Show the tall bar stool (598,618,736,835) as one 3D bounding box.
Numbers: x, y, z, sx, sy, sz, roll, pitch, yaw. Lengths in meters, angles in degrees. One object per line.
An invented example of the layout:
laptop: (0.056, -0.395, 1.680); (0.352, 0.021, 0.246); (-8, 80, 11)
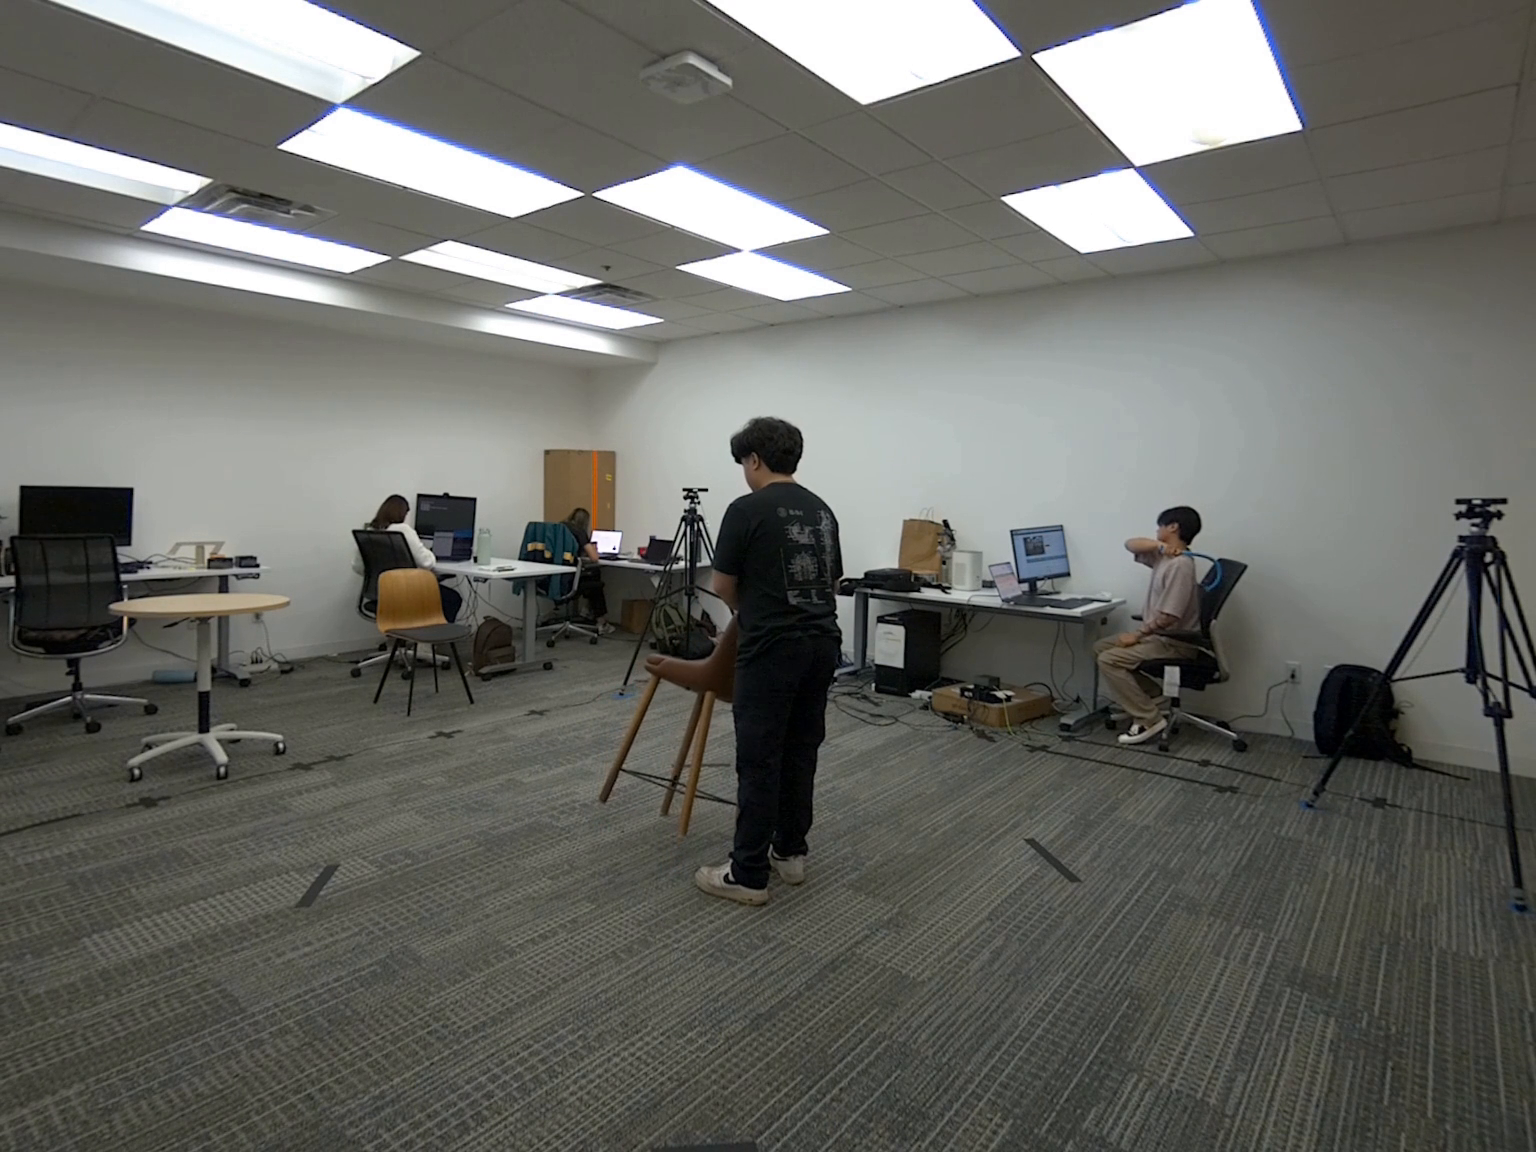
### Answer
tall bar stool: (-0.277, 0.562, 3.449); (0.484, 0.896, 0.438); (7, -15, 39)
